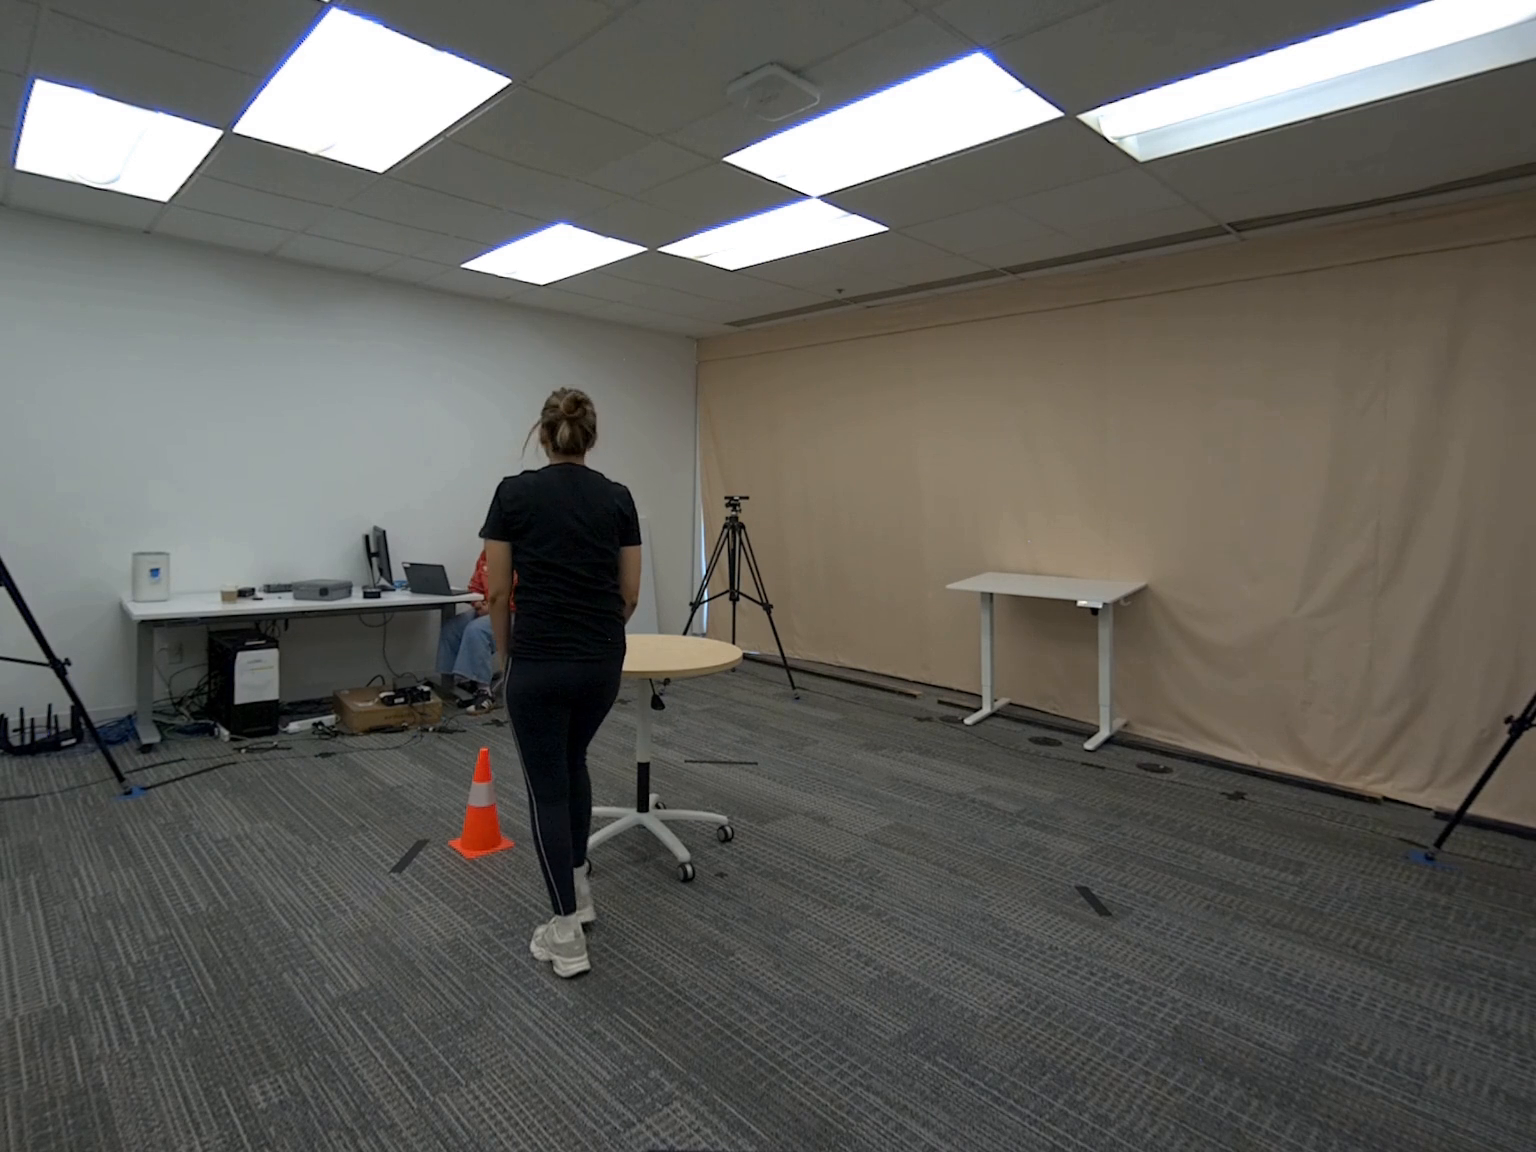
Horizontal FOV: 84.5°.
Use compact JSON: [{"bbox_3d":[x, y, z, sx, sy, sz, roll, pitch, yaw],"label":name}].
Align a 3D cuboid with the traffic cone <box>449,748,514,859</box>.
[{"bbox_3d":[-1.145,0.879,3.318,0.201,0.383,0.208,-2,4,-33],"label":"traffic cone"}]
